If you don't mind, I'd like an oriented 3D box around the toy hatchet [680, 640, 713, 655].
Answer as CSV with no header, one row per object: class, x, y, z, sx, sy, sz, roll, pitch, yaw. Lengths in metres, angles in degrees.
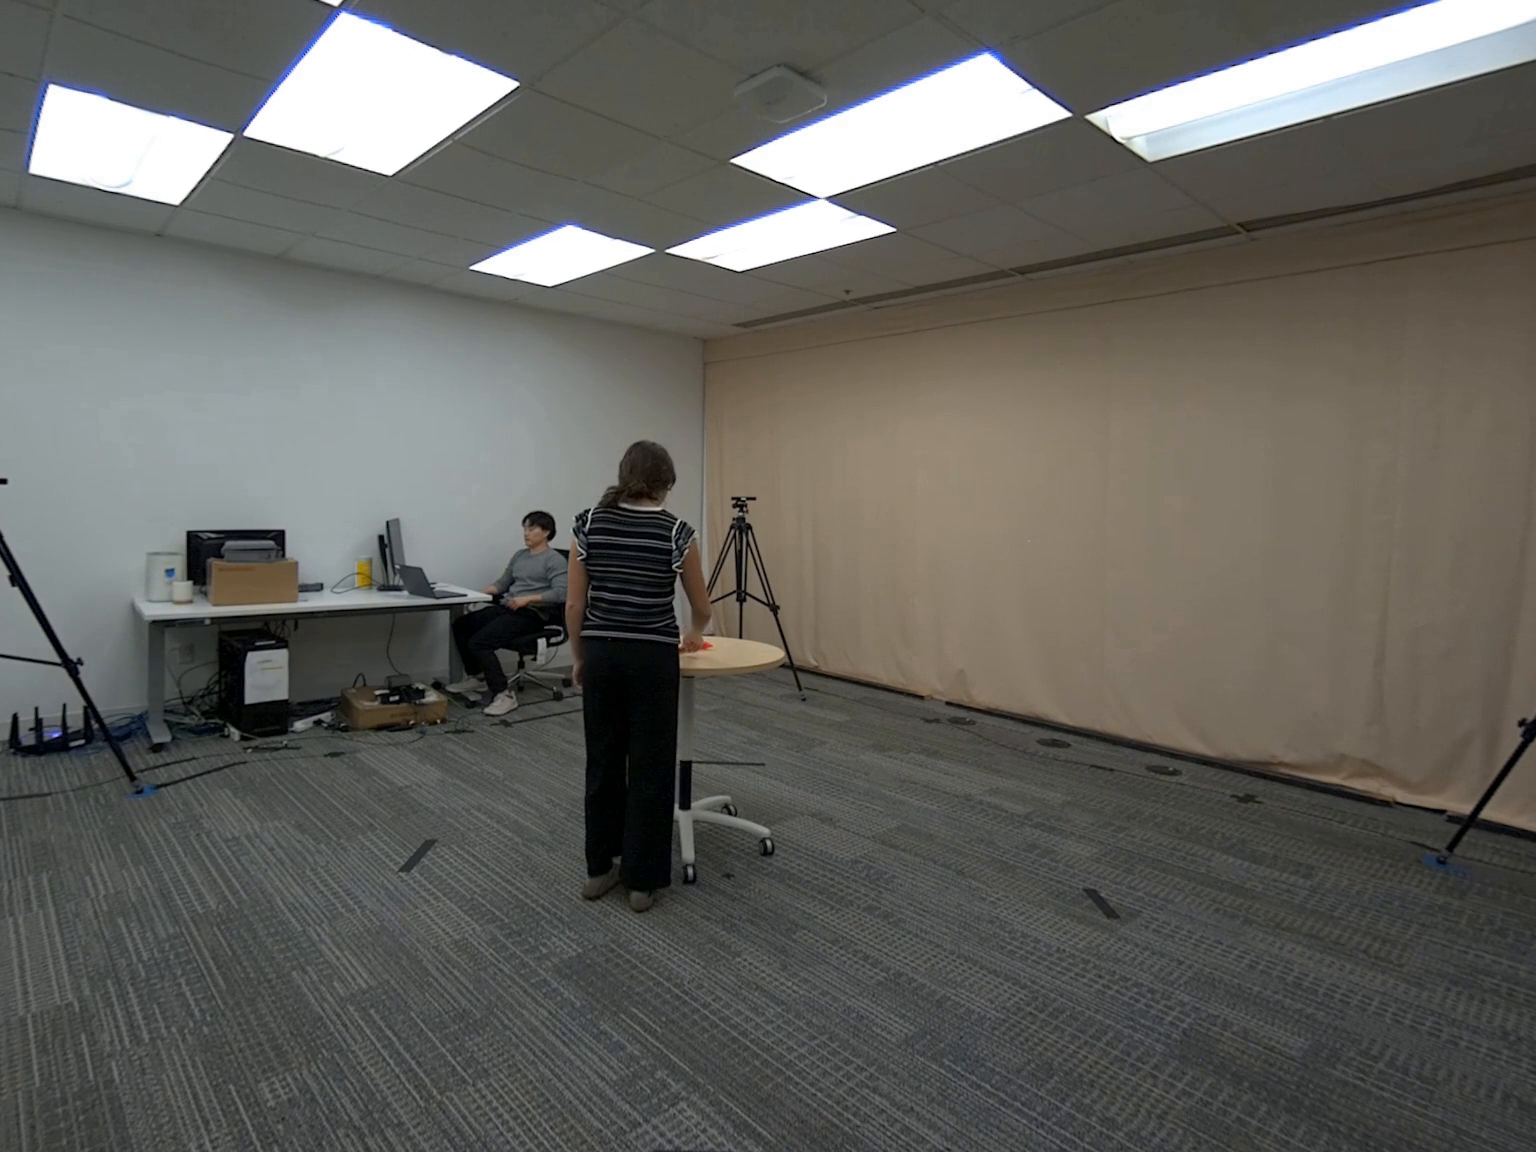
toy hatchet,-0.369,0.287,3.326,0.264,0.029,0.134,-4,6,-39
